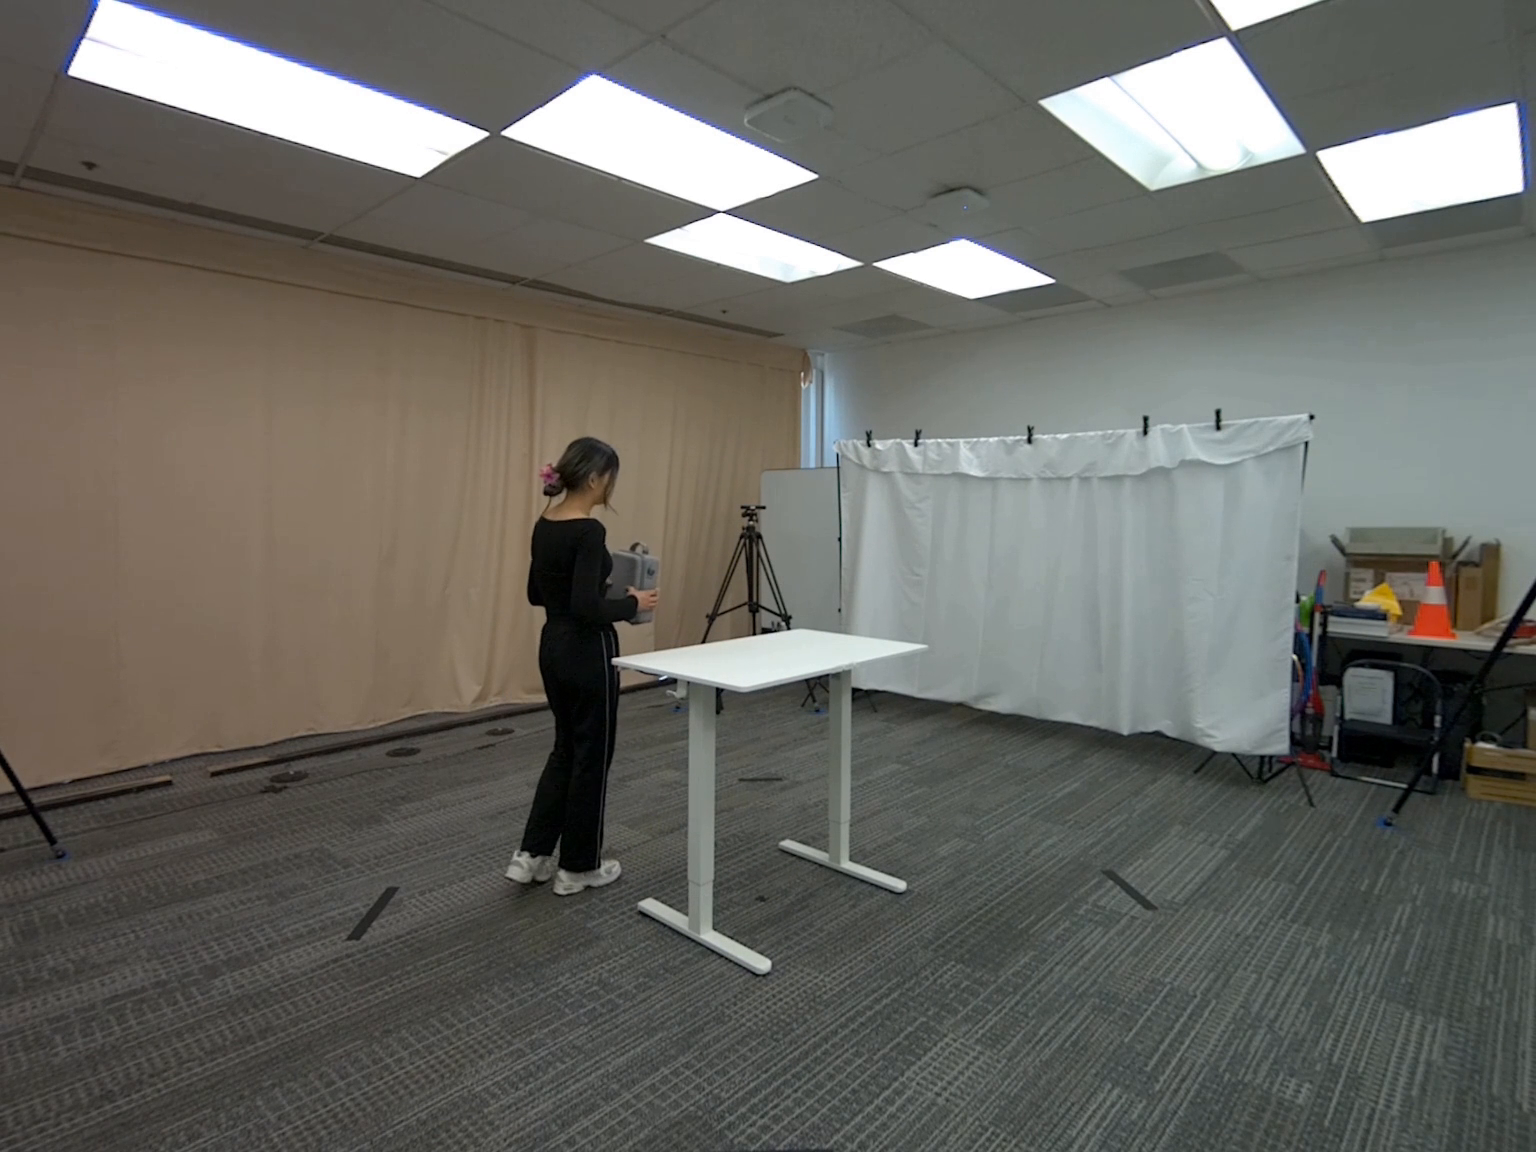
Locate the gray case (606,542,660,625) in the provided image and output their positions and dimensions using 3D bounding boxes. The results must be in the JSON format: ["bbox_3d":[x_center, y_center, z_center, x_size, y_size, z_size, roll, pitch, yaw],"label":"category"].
[{"bbox_3d":[-0.515,0.035,3.149,0.101,0.260,0.265,7,2,-33],"label":"gray case"}]
